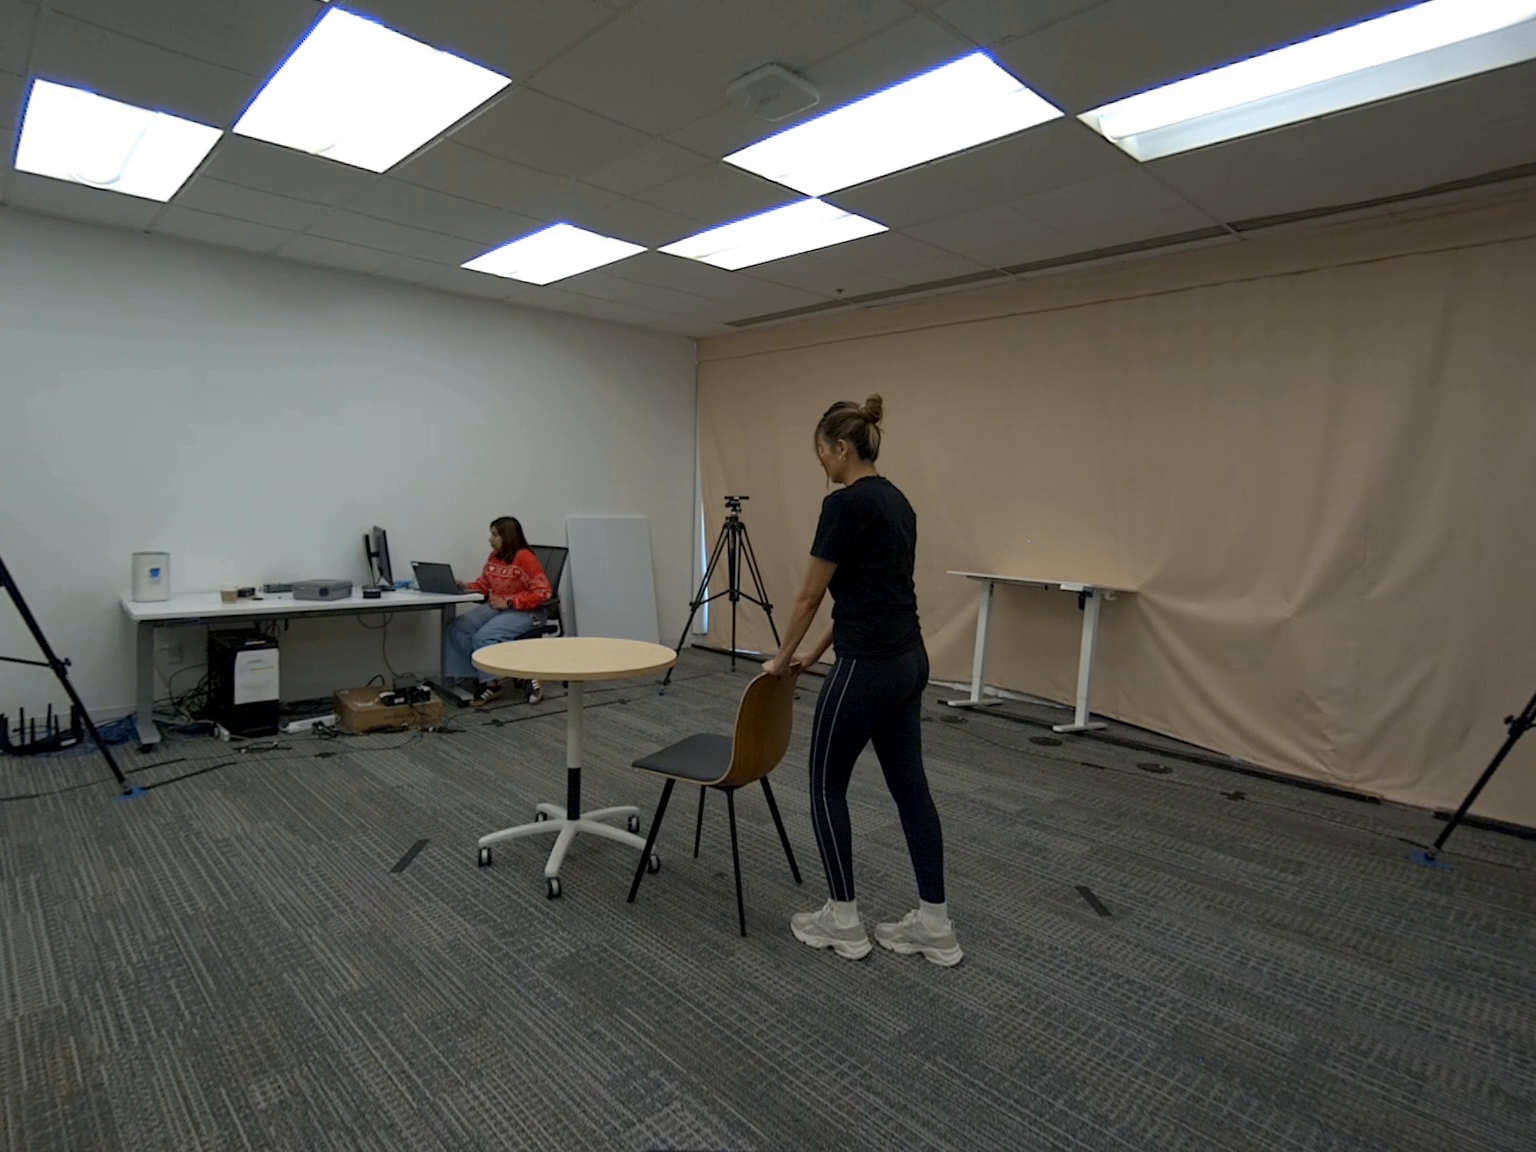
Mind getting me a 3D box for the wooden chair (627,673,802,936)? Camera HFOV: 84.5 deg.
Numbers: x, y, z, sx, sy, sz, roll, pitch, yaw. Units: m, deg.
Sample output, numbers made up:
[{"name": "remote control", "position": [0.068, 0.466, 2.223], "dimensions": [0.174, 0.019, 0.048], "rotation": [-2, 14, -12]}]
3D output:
[{"name": "wooden chair", "position": [-0.180, 0.690, 2.932], "dimensions": [0.535, 0.874, 0.469], "rotation": [8, 6, 28]}]
